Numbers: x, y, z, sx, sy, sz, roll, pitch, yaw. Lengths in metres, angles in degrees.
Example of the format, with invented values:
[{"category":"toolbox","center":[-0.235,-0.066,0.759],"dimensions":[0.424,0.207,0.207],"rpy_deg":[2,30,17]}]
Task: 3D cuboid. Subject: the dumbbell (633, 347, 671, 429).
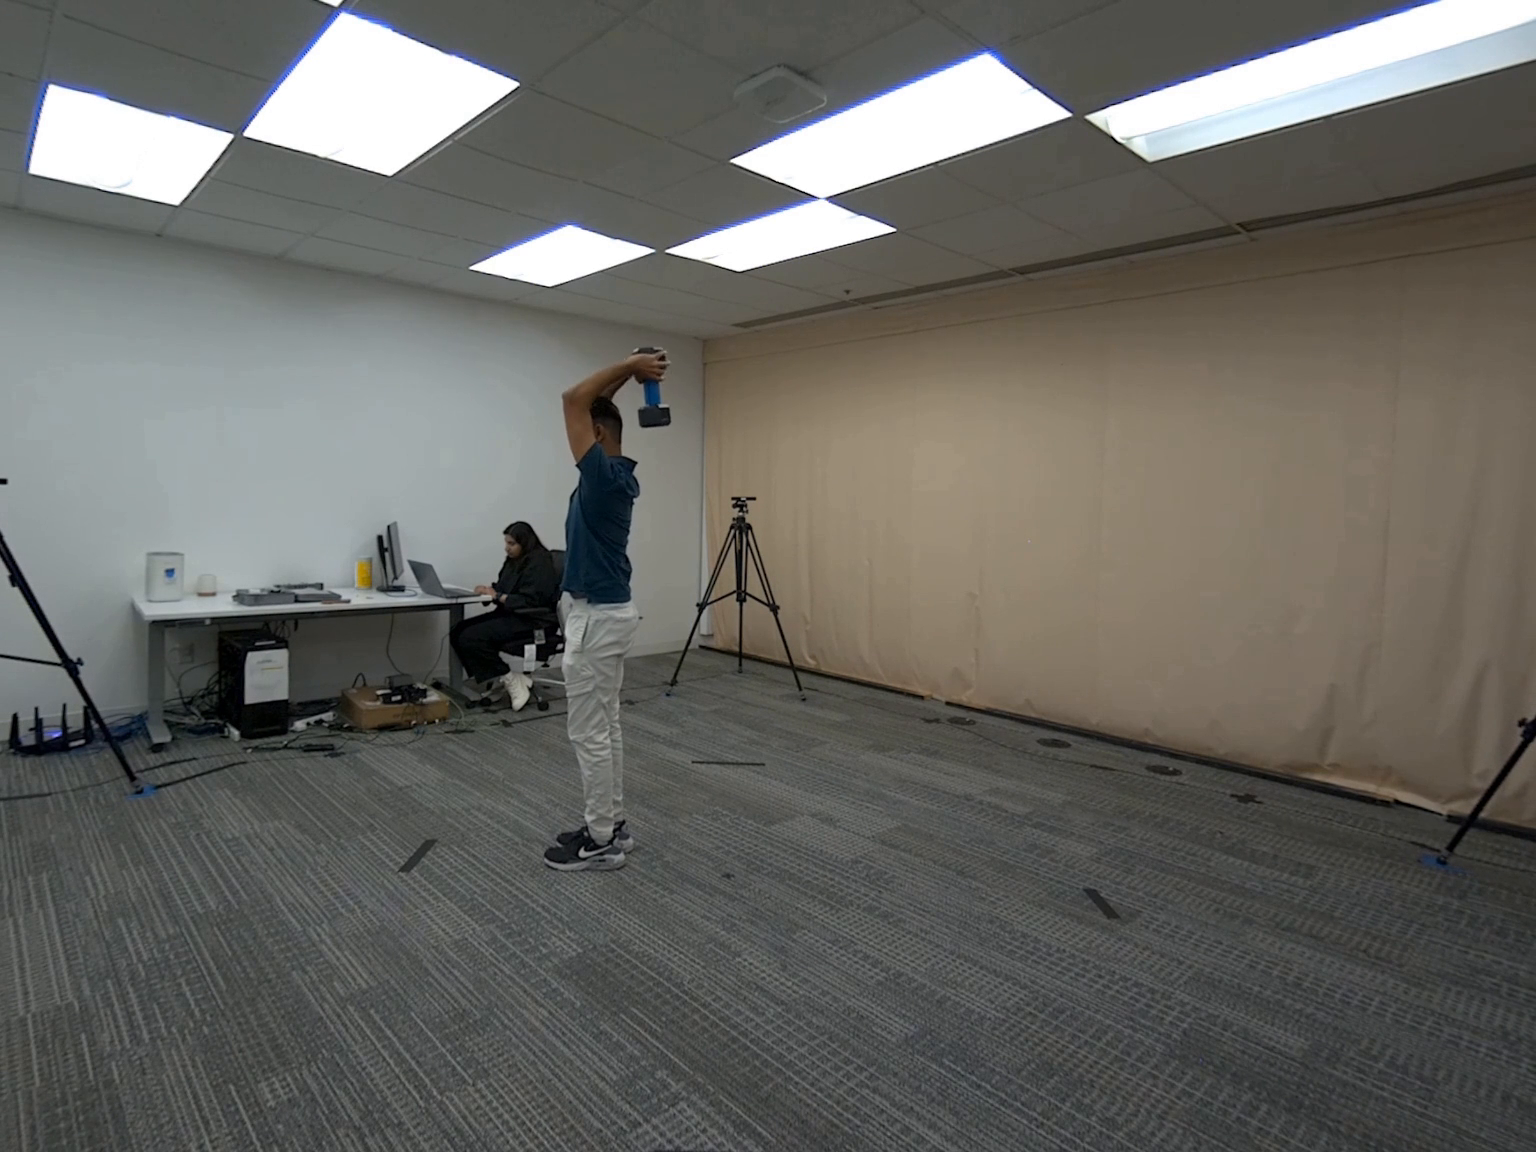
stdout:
[{"category":"dumbbell","center":[-0.456,-0.706,3.163],"dimensions":[0.123,0.291,0.109],"rpy_deg":[-6,8,6]}]
